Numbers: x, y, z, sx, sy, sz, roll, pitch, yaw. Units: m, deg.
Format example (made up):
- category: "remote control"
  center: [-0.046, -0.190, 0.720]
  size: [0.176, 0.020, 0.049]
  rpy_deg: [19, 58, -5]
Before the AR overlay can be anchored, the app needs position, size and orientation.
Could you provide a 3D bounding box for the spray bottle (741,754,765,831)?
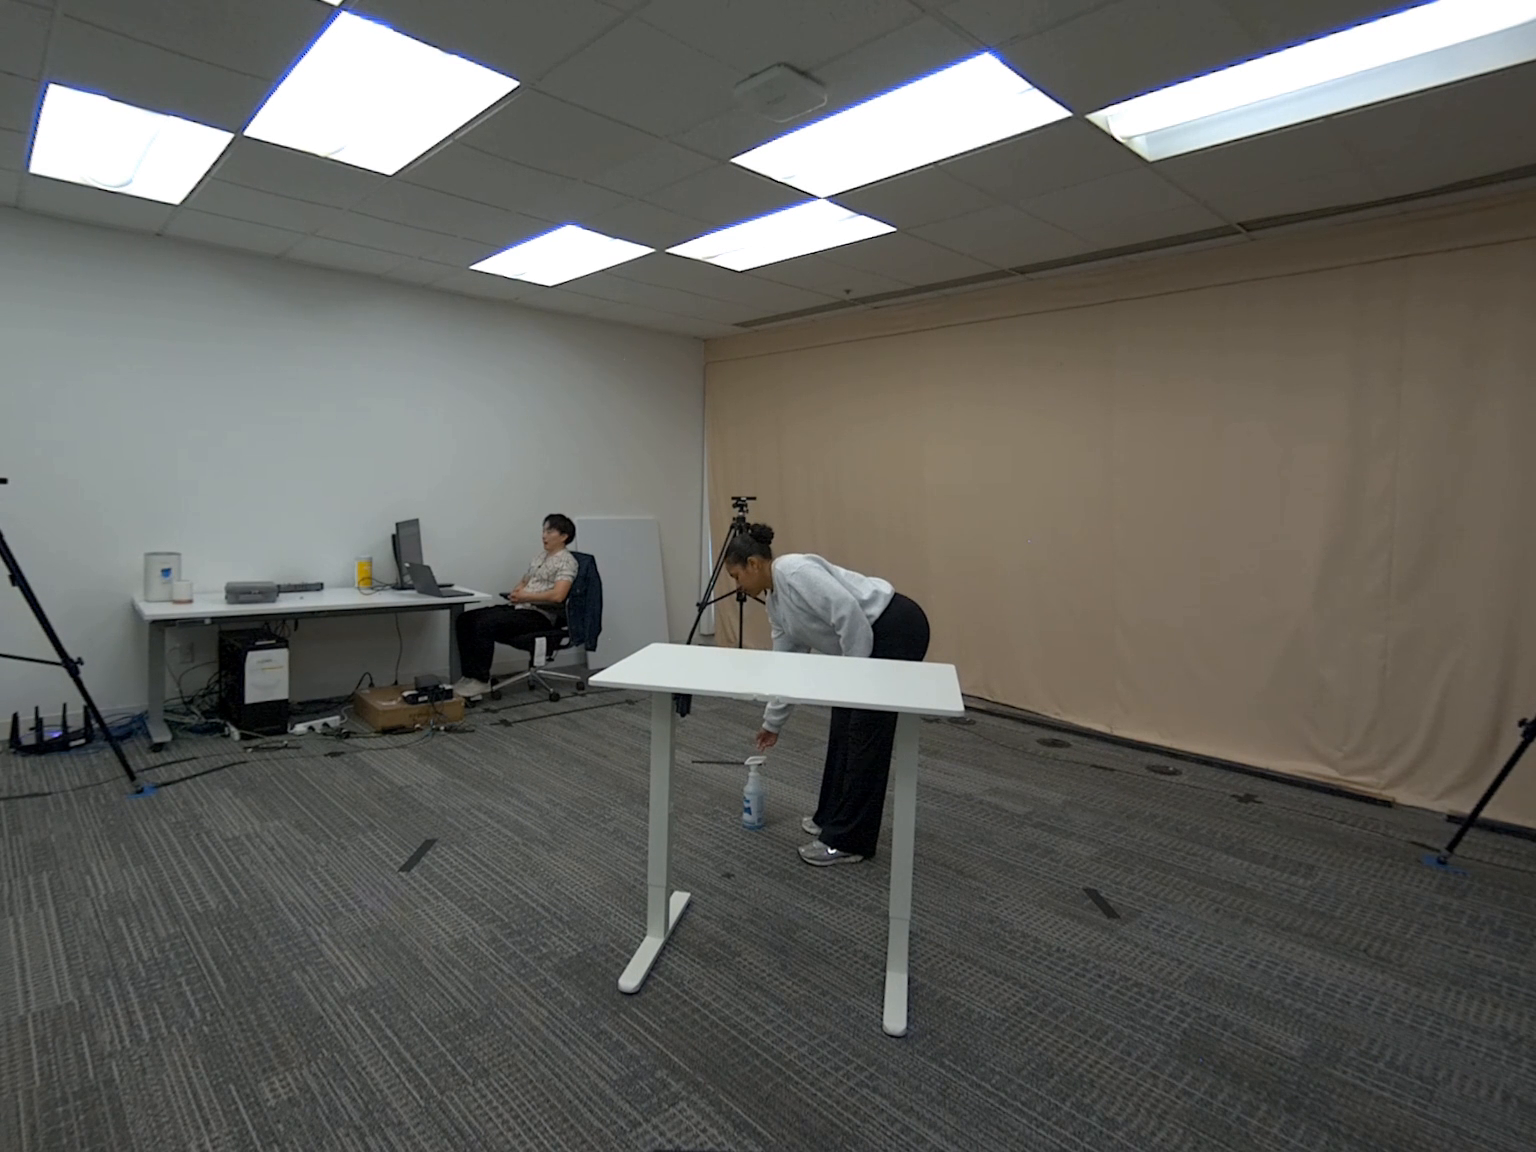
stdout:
- category: "spray bottle"
  center: [-0.062, 0.915, 3.588]
  size: [0.091, 0.297, 0.086]
  rpy_deg: [4, 3, 18]
